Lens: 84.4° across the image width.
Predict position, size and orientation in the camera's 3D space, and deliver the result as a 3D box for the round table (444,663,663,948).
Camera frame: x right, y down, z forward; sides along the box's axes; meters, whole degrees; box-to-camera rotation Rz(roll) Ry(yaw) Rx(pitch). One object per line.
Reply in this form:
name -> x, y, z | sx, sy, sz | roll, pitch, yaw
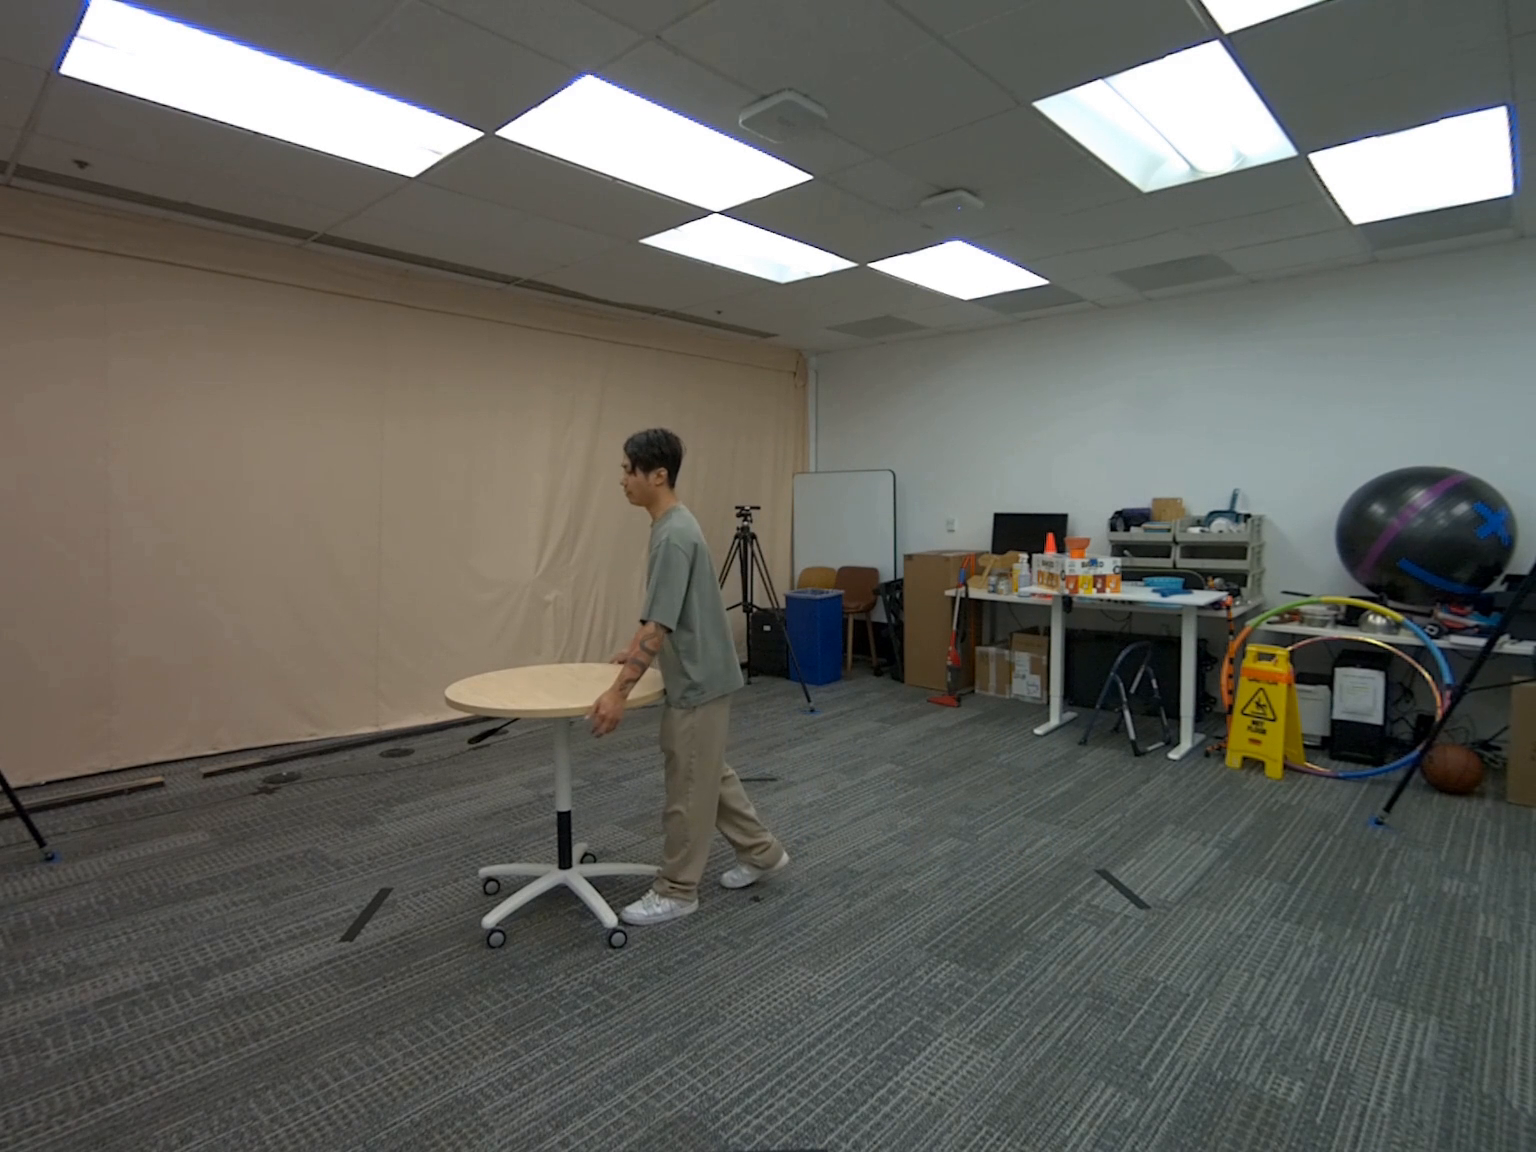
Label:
round table -> -0.707, 0.762, 2.934 | 0.784, 0.785, 0.788 | -1, 4, -2
